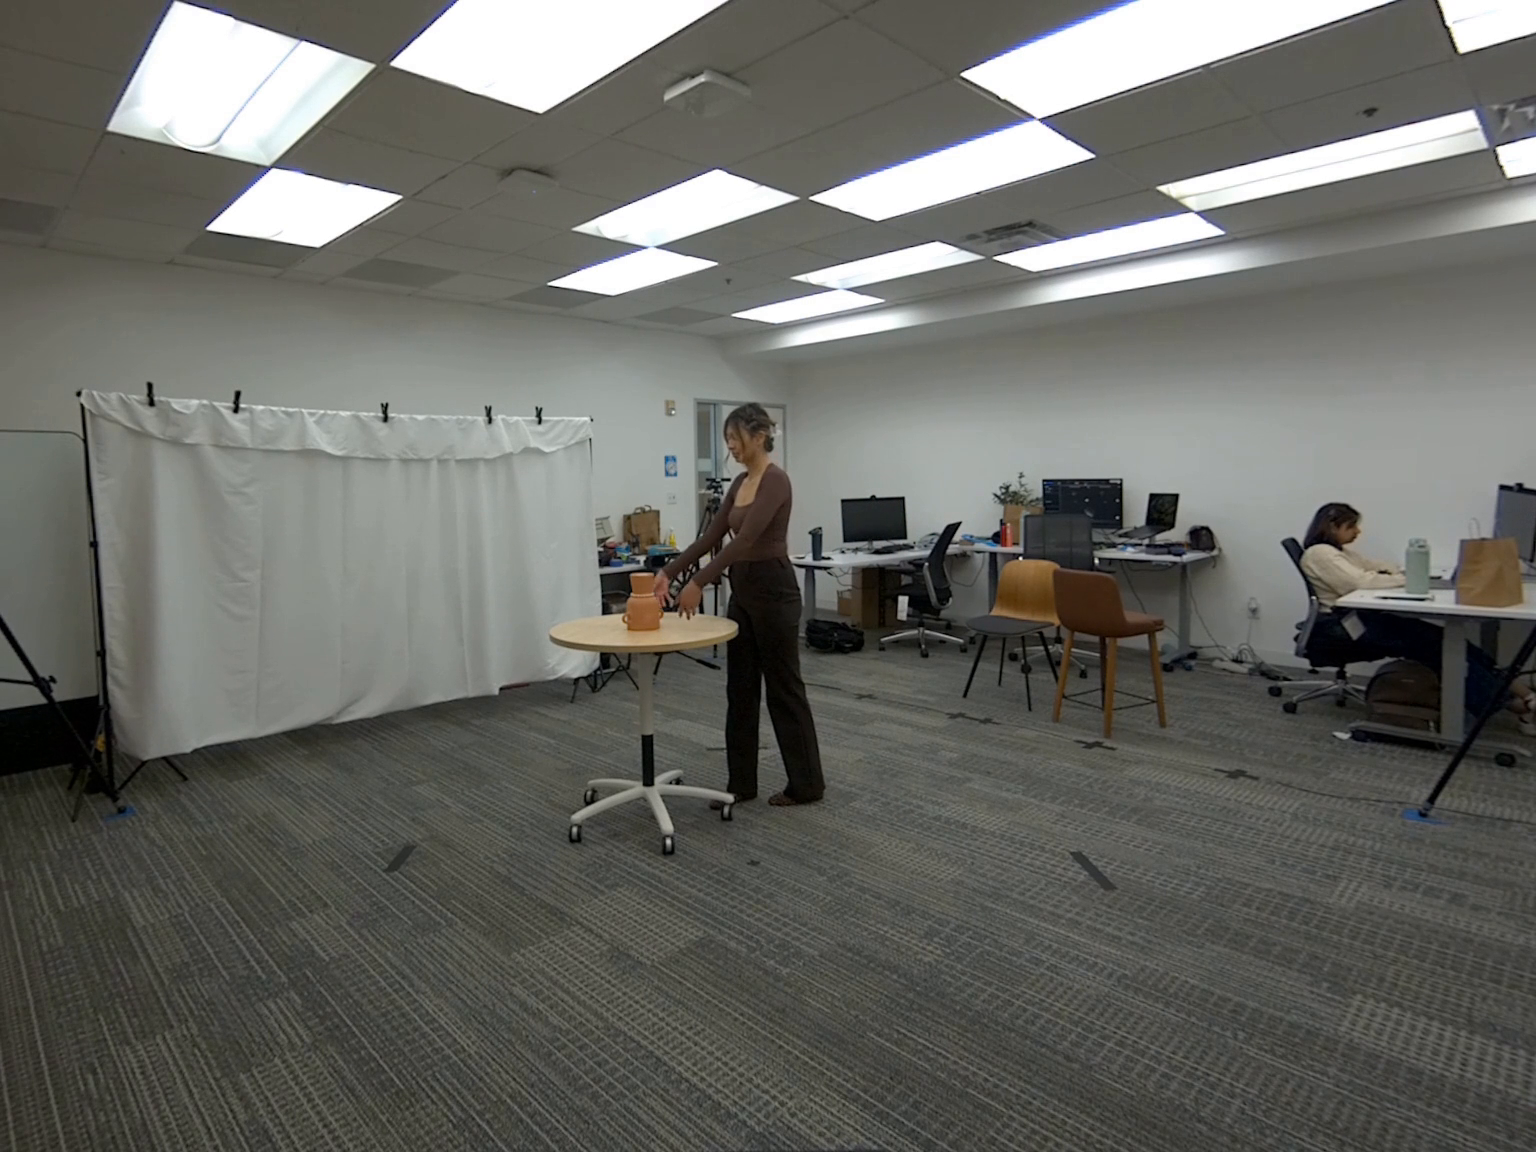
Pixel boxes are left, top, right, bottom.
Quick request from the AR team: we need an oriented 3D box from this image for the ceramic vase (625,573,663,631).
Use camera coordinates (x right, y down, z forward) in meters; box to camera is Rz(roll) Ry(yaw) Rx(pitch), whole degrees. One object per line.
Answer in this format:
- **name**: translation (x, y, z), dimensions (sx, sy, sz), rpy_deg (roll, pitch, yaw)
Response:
- **ceramic vase**: translation (-0.500, 0.101, 3.460), dimensions (0.136, 0.219, 0.158), rpy_deg (-1, 4, 10)
